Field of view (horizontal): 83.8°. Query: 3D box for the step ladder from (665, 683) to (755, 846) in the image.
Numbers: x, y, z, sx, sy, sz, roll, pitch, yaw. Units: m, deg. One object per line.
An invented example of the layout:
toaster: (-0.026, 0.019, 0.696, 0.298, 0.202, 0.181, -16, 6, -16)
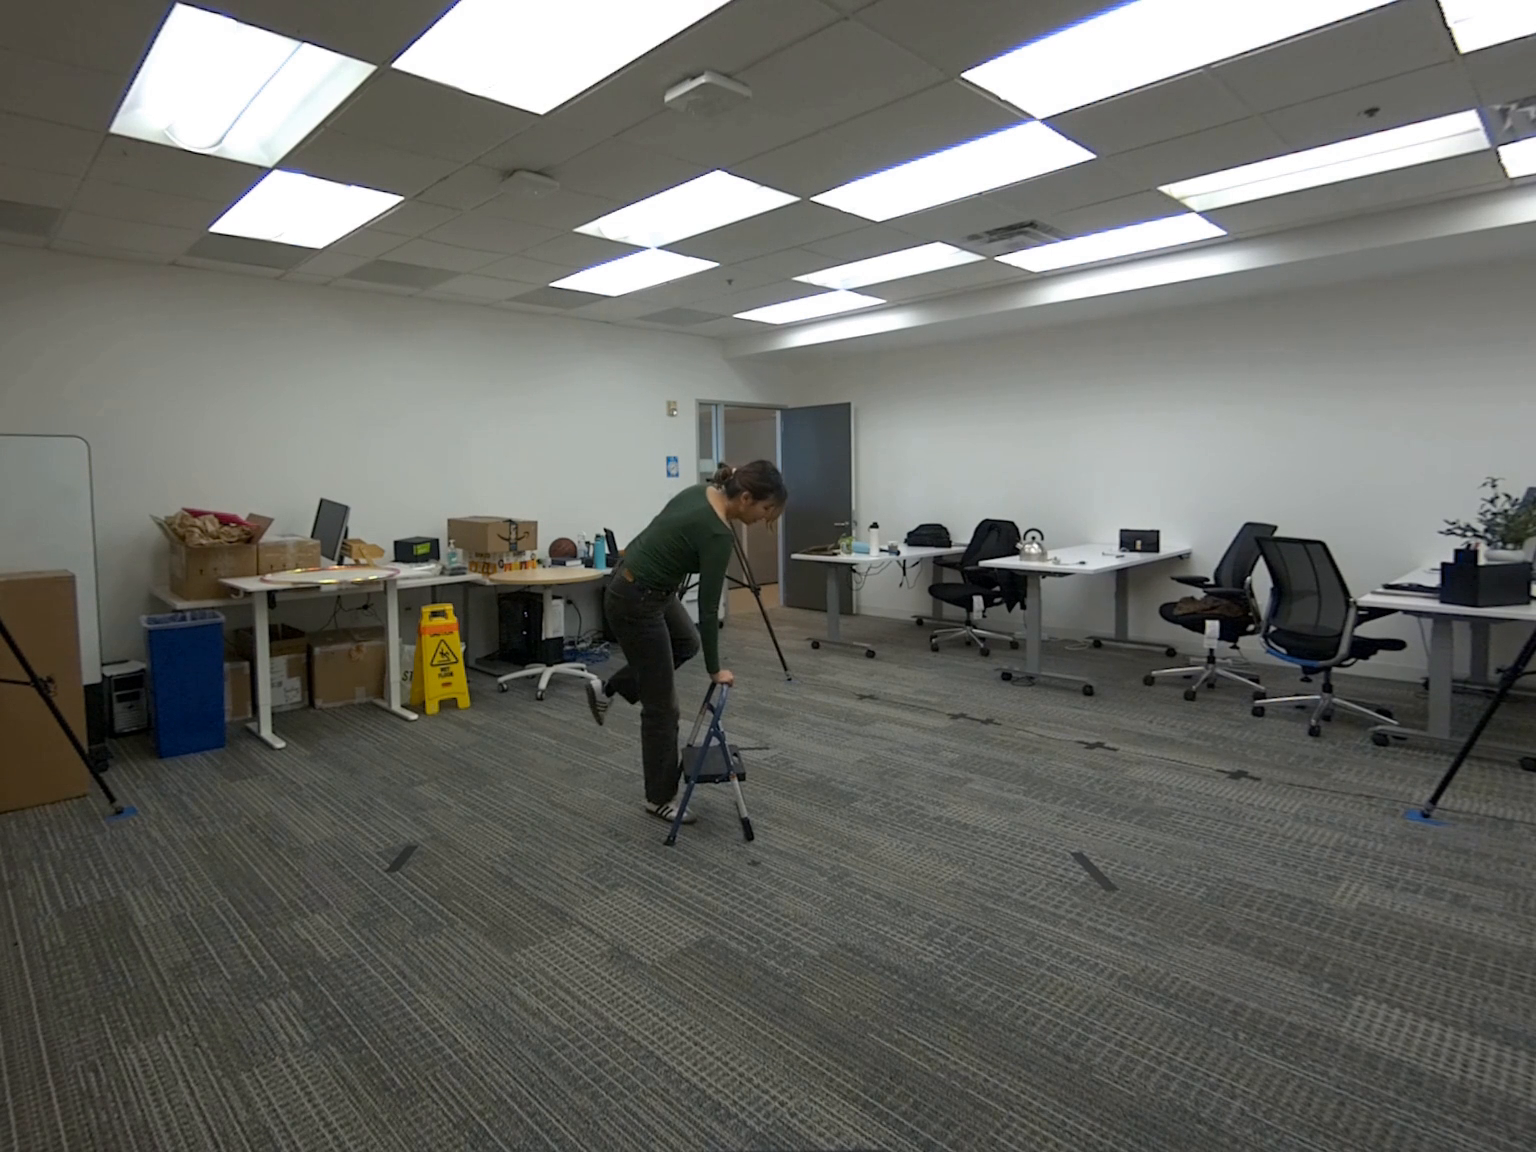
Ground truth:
step ladder: (-0.246, 0.705, 3.464, 0.347, 0.604, 0.435, -1, 4, -7)
